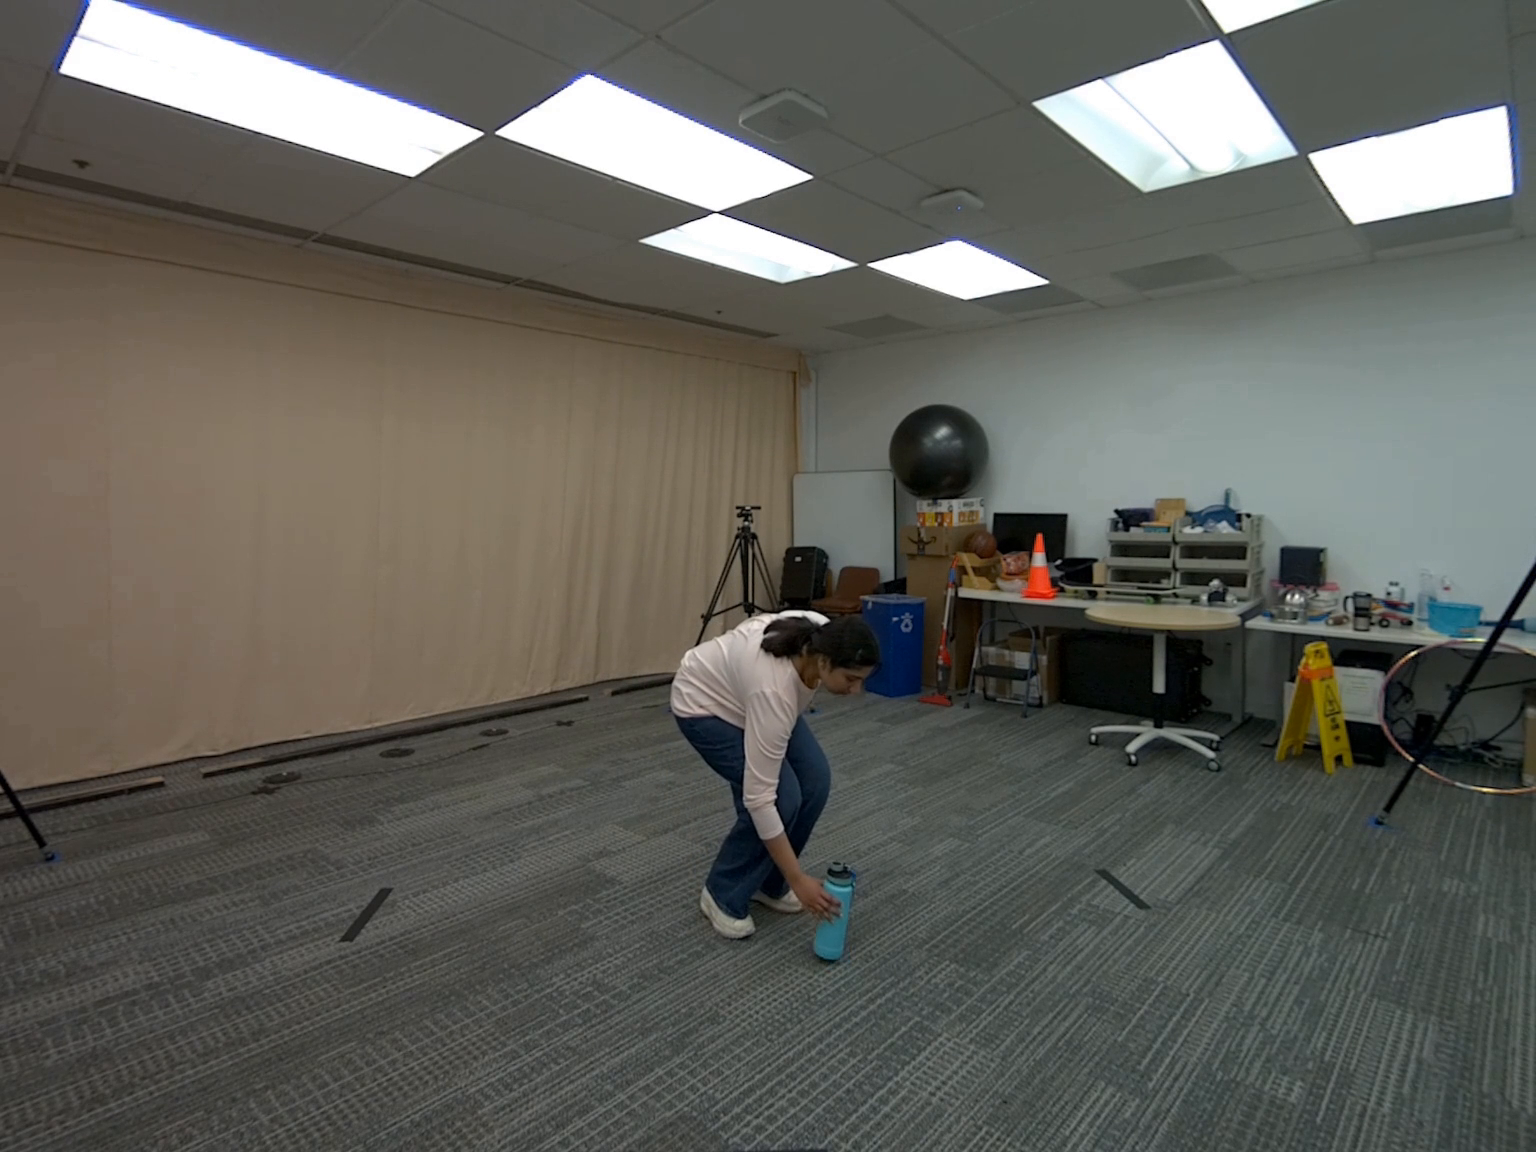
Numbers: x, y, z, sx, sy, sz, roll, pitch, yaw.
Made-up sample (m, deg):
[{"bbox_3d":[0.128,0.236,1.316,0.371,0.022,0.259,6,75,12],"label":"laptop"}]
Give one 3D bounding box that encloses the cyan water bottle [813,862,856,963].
[{"bbox_3d":[0.209,1.009,2.572,0.092,0.283,0.092,7,2,-2],"label":"cyan water bottle"}]
